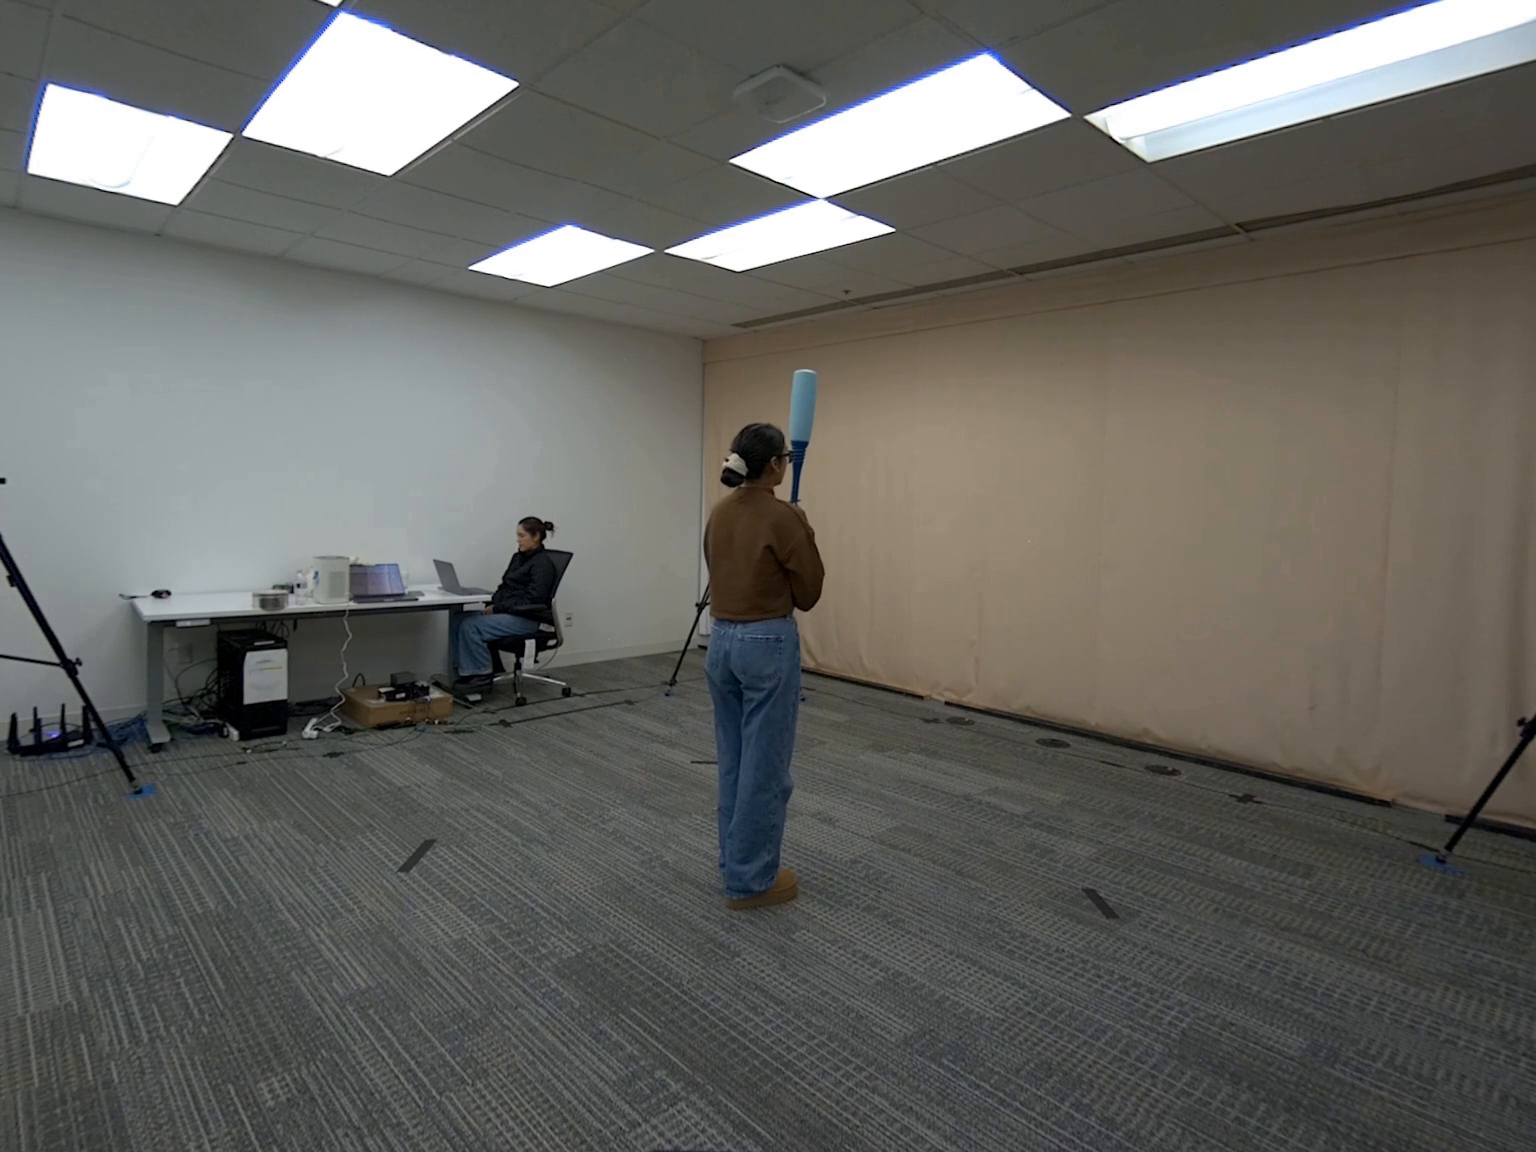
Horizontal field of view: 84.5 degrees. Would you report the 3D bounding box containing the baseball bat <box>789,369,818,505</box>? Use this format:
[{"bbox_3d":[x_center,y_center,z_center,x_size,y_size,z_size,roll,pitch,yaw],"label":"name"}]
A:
[{"bbox_3d":[0.112,-0.463,3.017,0.089,0.541,0.089,5,5,-2],"label":"baseball bat"}]
